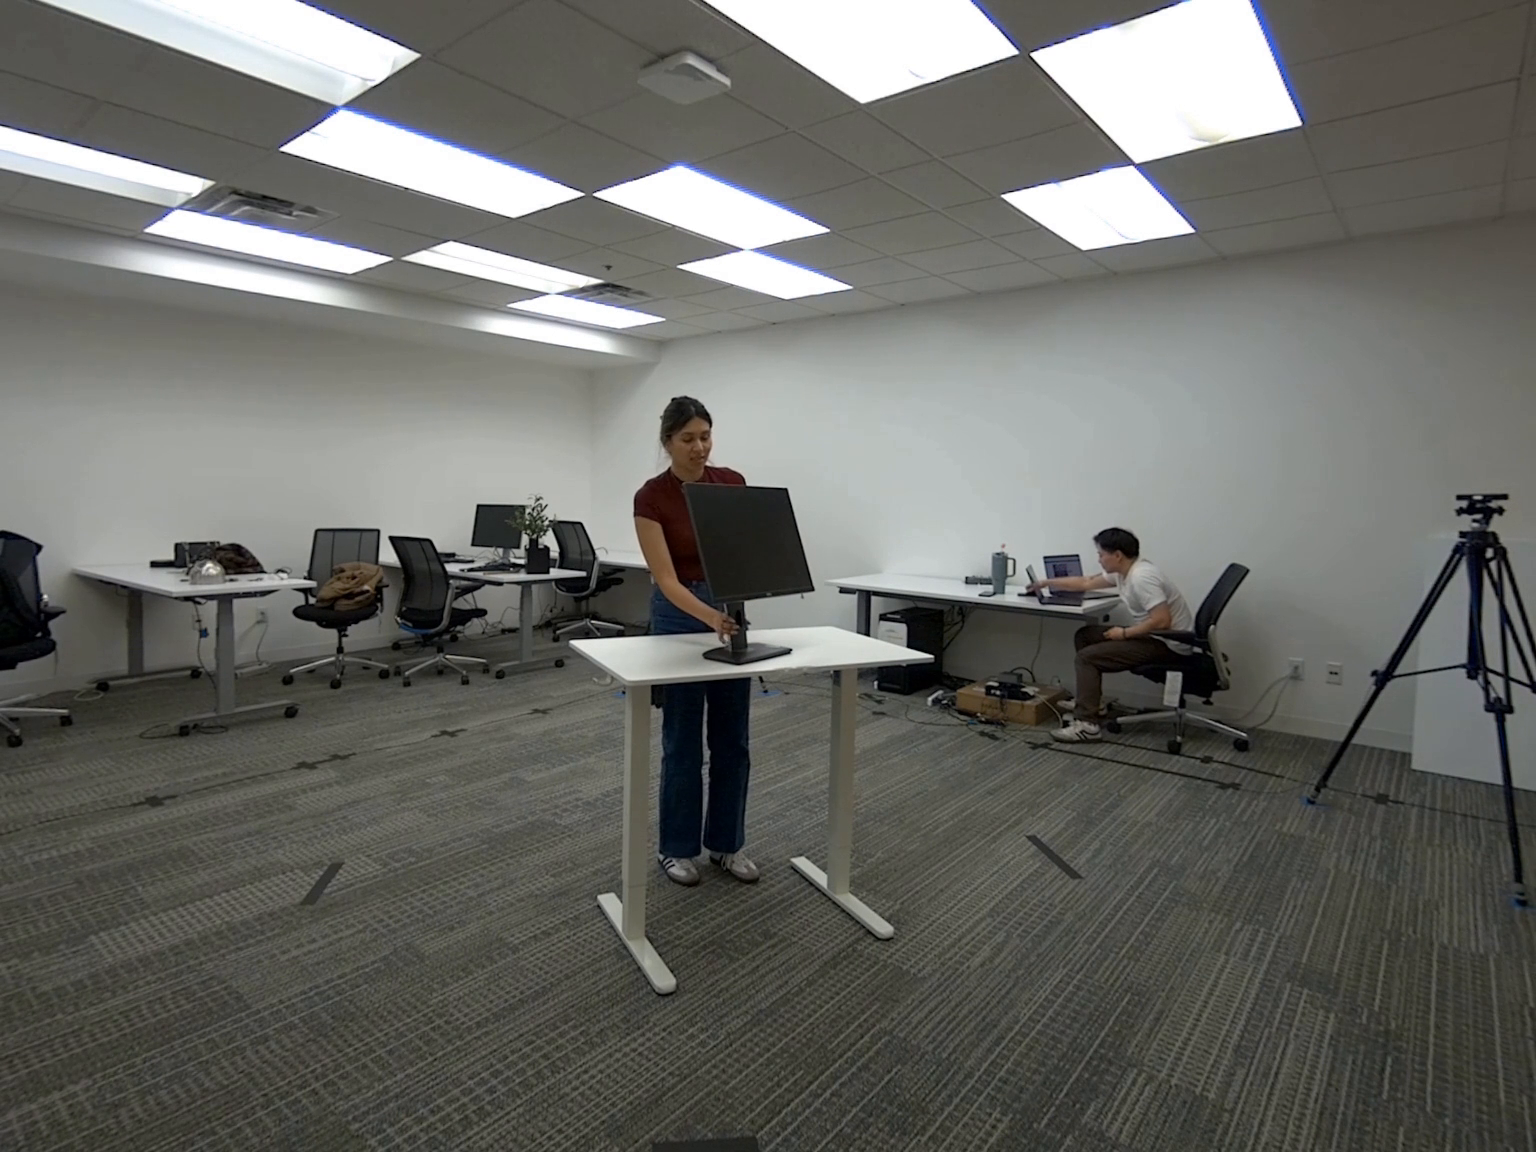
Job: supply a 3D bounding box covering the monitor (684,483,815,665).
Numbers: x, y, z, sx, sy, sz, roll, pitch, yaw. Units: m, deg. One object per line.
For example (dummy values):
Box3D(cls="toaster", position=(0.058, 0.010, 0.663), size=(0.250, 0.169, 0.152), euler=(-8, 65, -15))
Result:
Box3D(cls="monitor", position=(-0.071, -0.016, 2.584), size=(0.192, 0.522, 0.524), euler=(-2, 1, 33))
